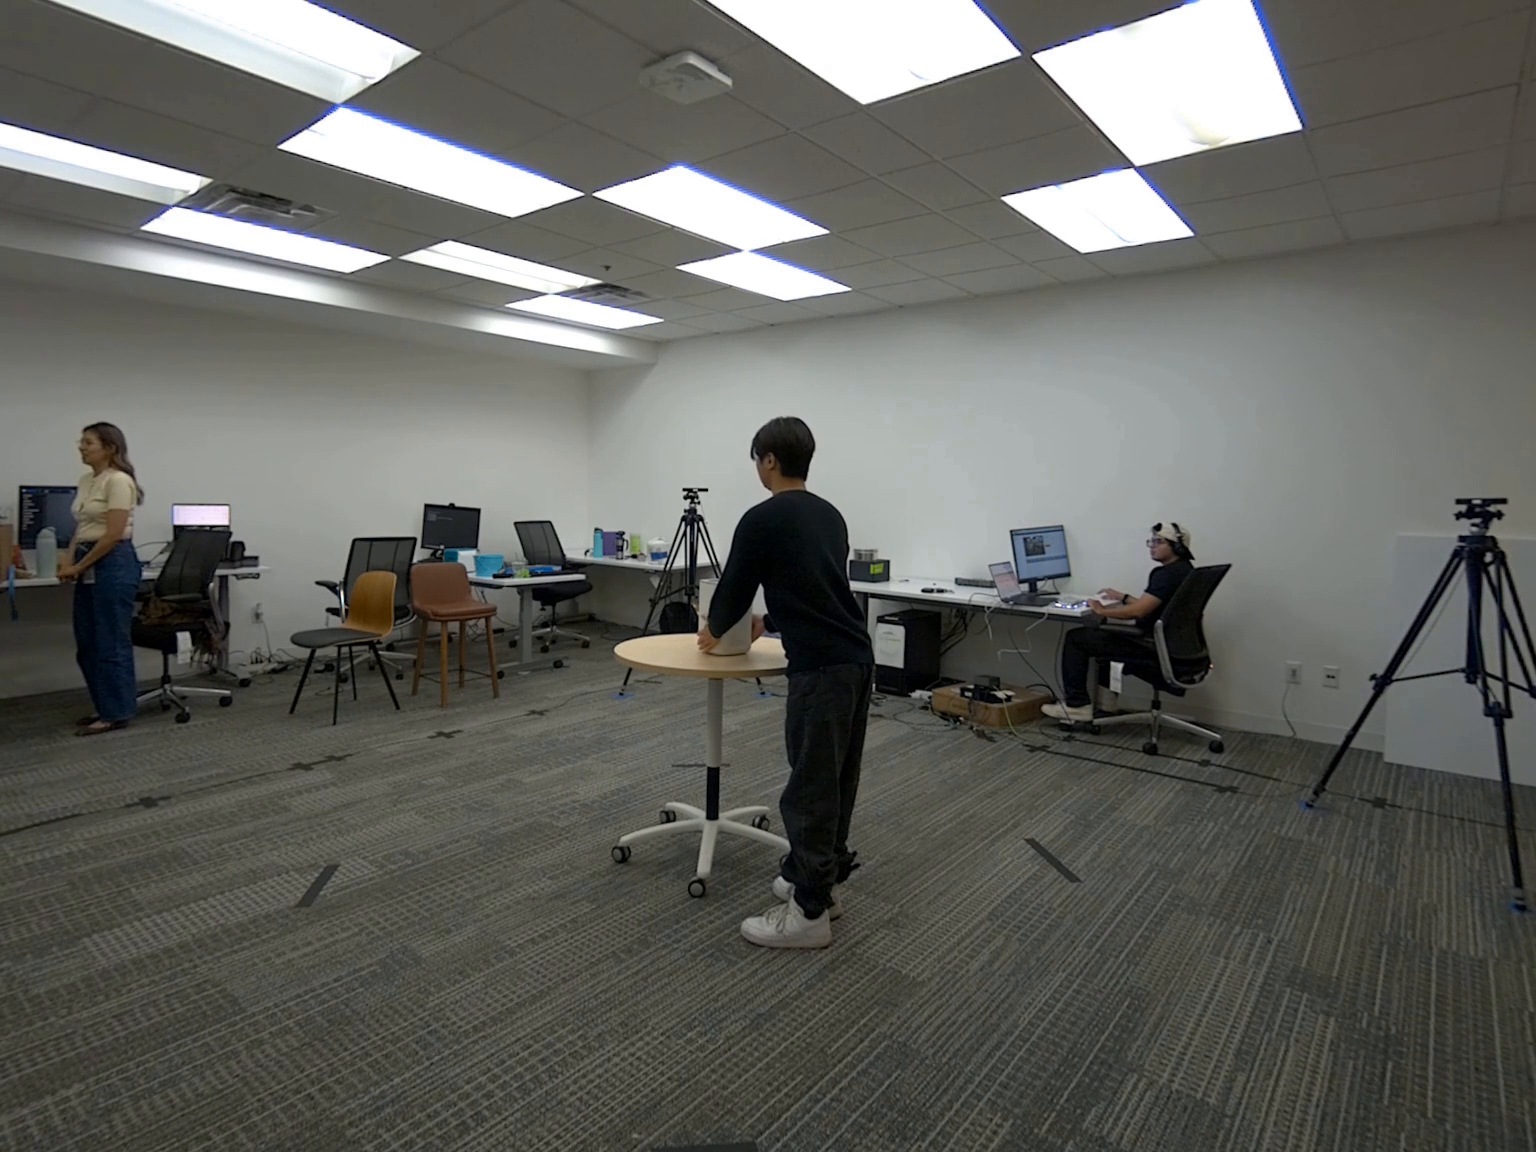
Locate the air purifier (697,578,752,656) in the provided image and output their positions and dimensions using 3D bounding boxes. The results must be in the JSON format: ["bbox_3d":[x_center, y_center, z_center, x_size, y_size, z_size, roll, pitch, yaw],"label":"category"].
[{"bbox_3d":[-0.168,0.148,3.157,0.166,0.265,0.177,0,3,-37],"label":"air purifier"}]
